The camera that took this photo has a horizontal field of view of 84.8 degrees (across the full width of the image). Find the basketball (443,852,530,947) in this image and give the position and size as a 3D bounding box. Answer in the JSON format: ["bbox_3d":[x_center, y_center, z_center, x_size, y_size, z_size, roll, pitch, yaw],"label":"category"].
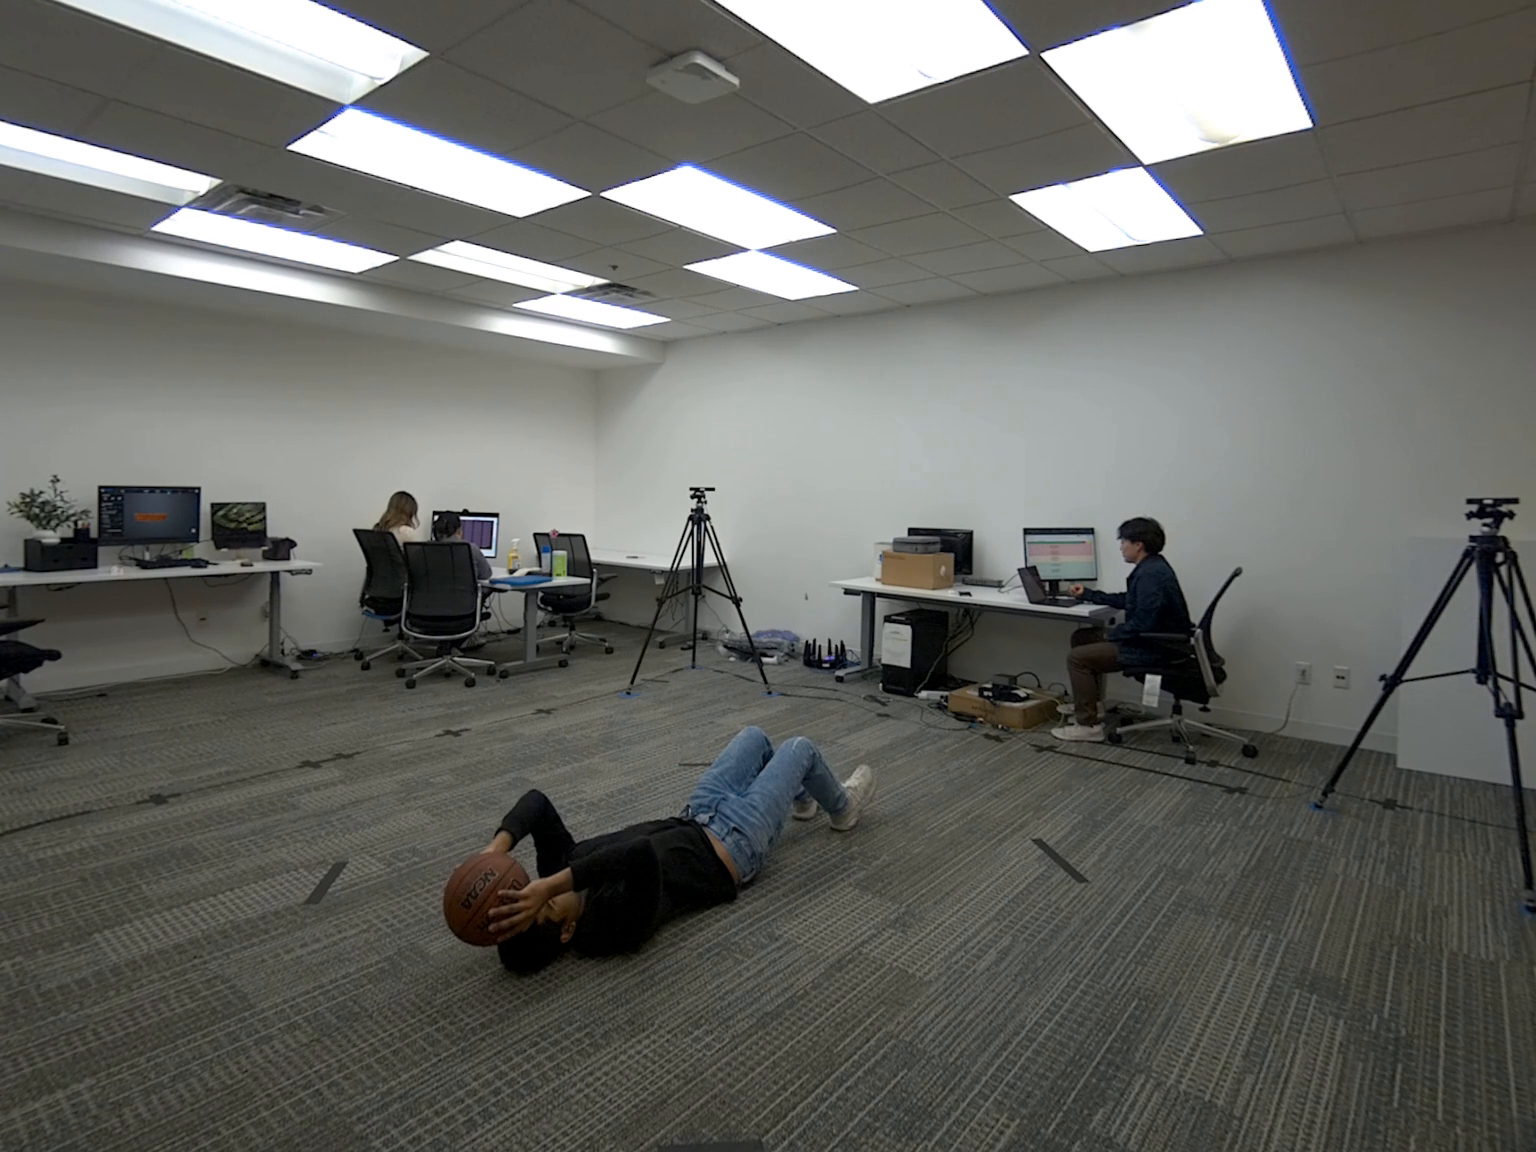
[{"bbox_3d":[-0.778,0.885,2.338,0.235,0.235,0.237,1,4,-2],"label":"basketball"}]
